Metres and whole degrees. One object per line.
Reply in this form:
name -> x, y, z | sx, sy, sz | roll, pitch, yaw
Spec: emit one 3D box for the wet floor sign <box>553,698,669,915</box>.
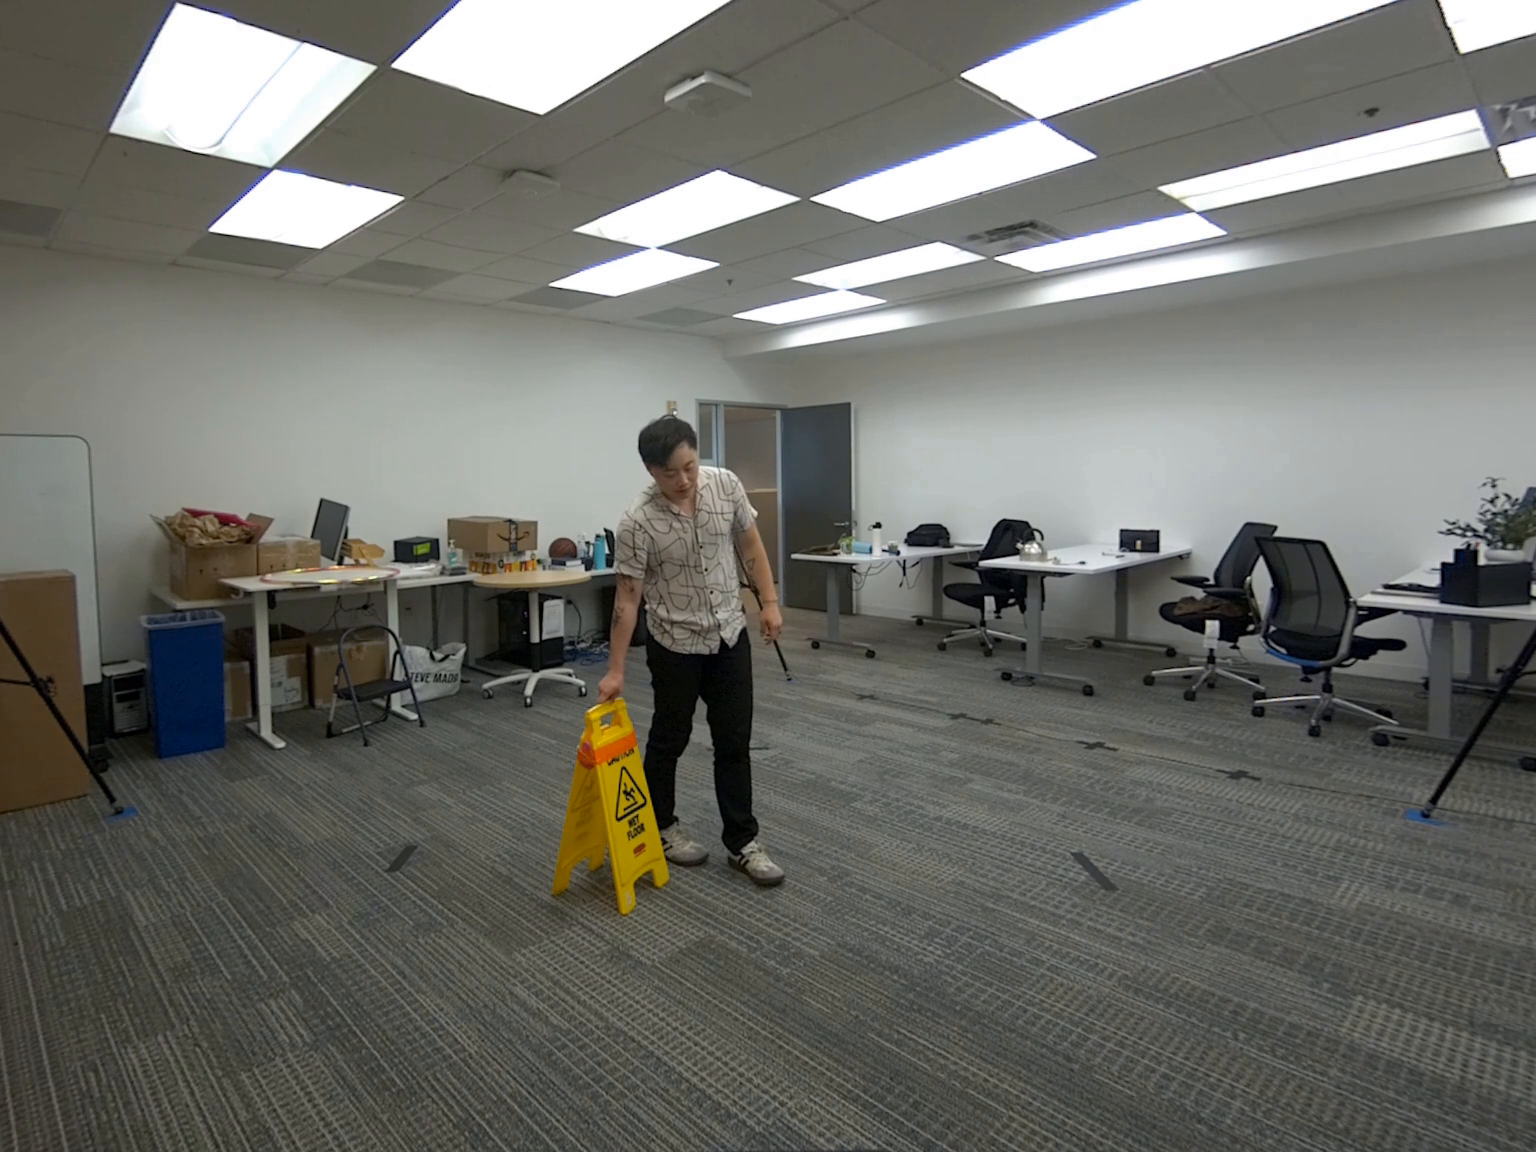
wet floor sign -> -0.540, 0.753, 2.912 | 0.297, 0.643, 0.276 | 2, 6, 27
